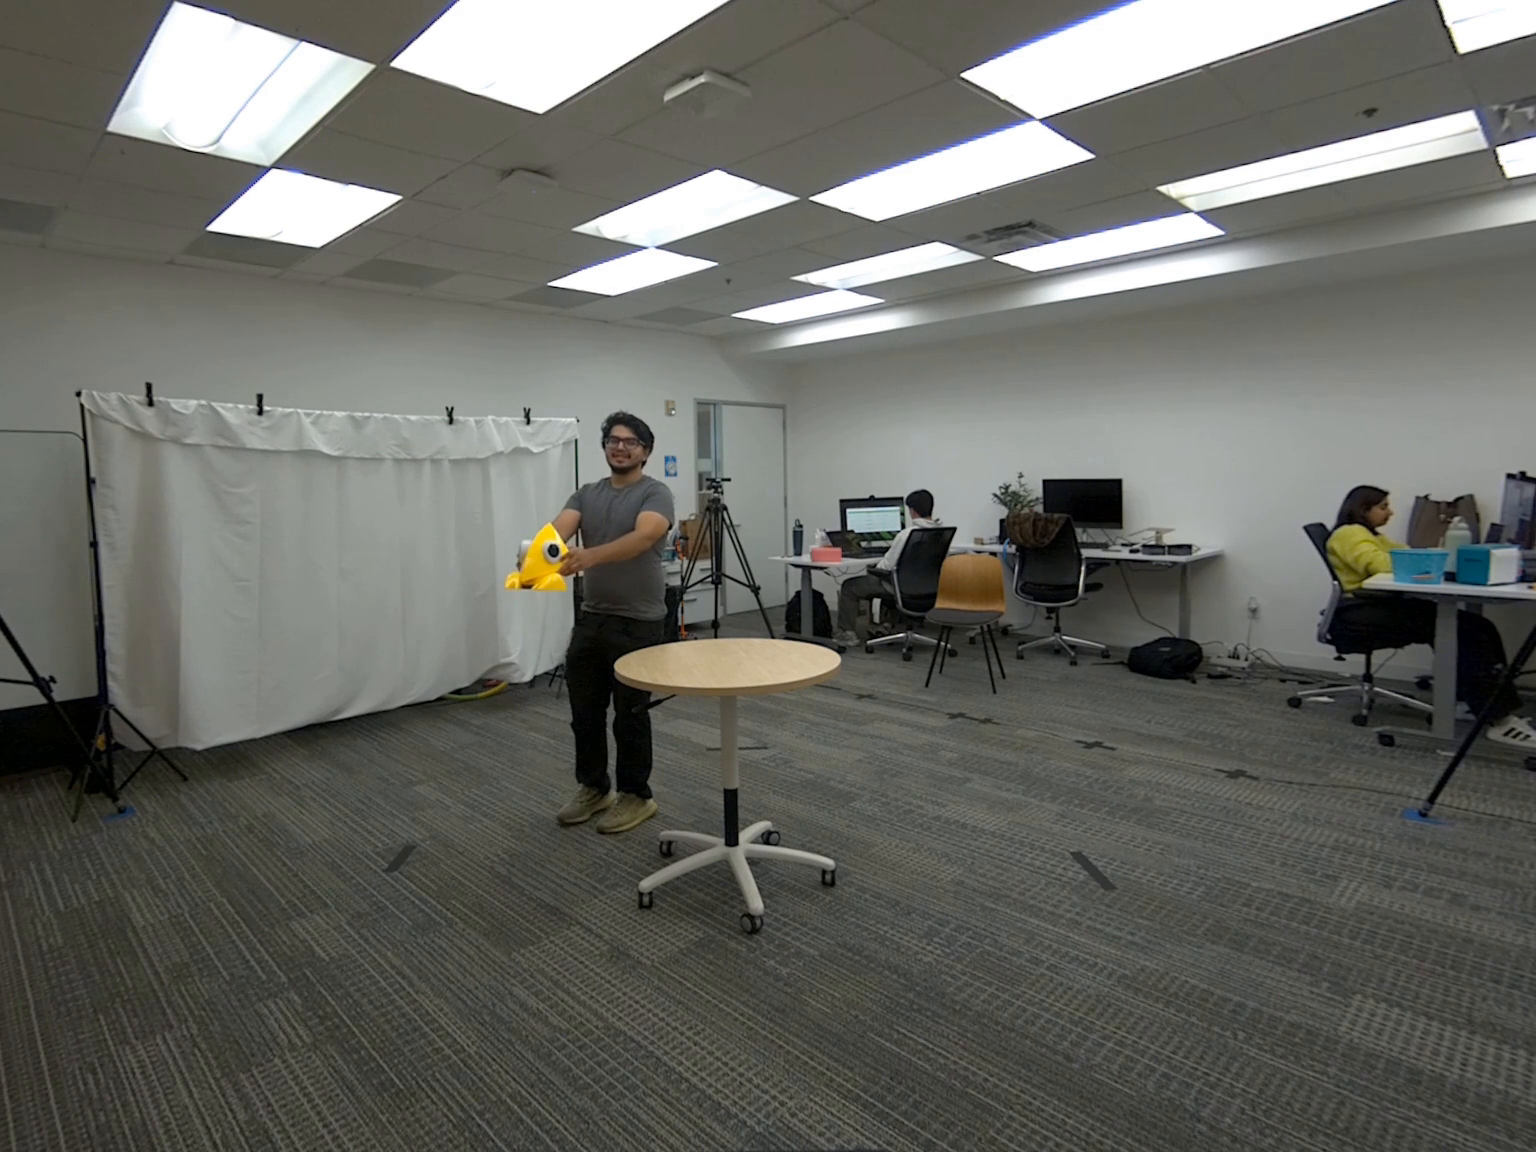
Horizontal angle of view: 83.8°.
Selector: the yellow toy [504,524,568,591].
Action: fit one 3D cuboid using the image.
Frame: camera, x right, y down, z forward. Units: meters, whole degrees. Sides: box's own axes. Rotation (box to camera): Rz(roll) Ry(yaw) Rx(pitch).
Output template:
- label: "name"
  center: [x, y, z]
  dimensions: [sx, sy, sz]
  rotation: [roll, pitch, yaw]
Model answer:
- label: "yellow toy"
  center: [-0.784, -0.067, 2.888]
  dimensions: [0.209, 0.231, 0.189]
  rotation: [3, -3, 19]
